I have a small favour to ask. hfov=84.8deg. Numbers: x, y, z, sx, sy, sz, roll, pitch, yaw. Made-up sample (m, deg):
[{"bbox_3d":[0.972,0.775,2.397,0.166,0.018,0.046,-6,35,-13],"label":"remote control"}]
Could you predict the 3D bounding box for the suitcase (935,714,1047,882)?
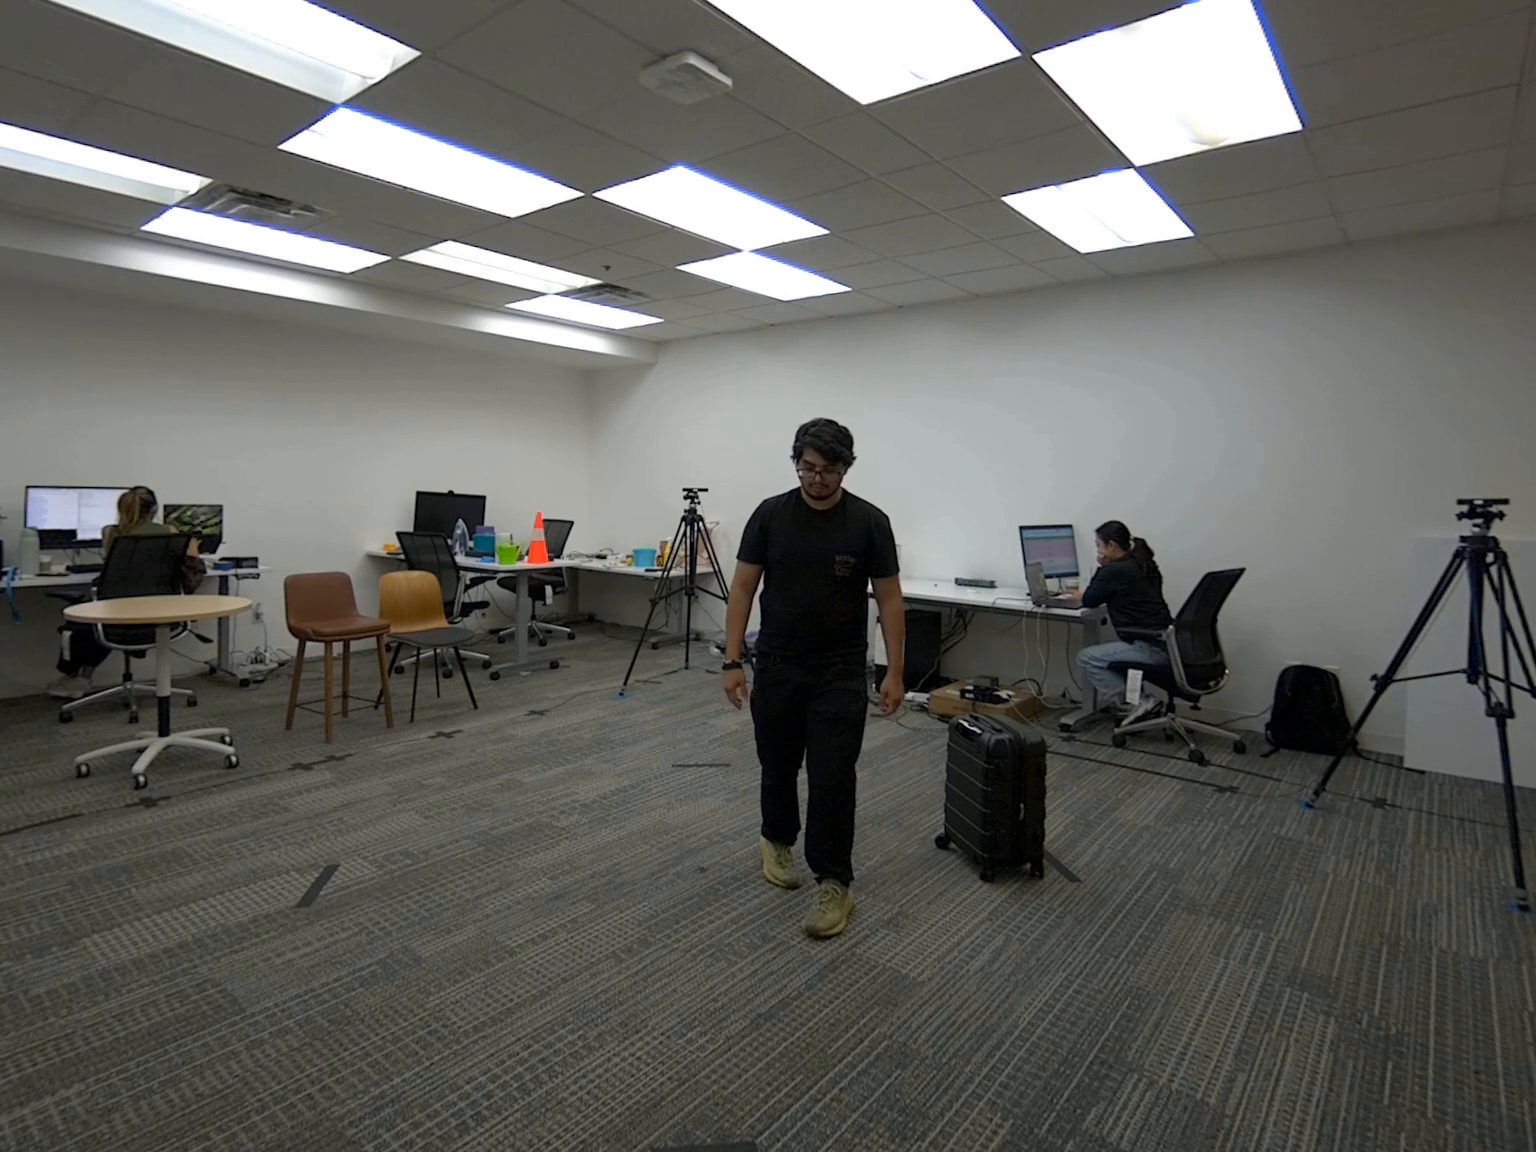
[{"bbox_3d":[0.846,0.803,3.214,0.246,0.547,0.381,-1,4,-11],"label":"suitcase"}]
